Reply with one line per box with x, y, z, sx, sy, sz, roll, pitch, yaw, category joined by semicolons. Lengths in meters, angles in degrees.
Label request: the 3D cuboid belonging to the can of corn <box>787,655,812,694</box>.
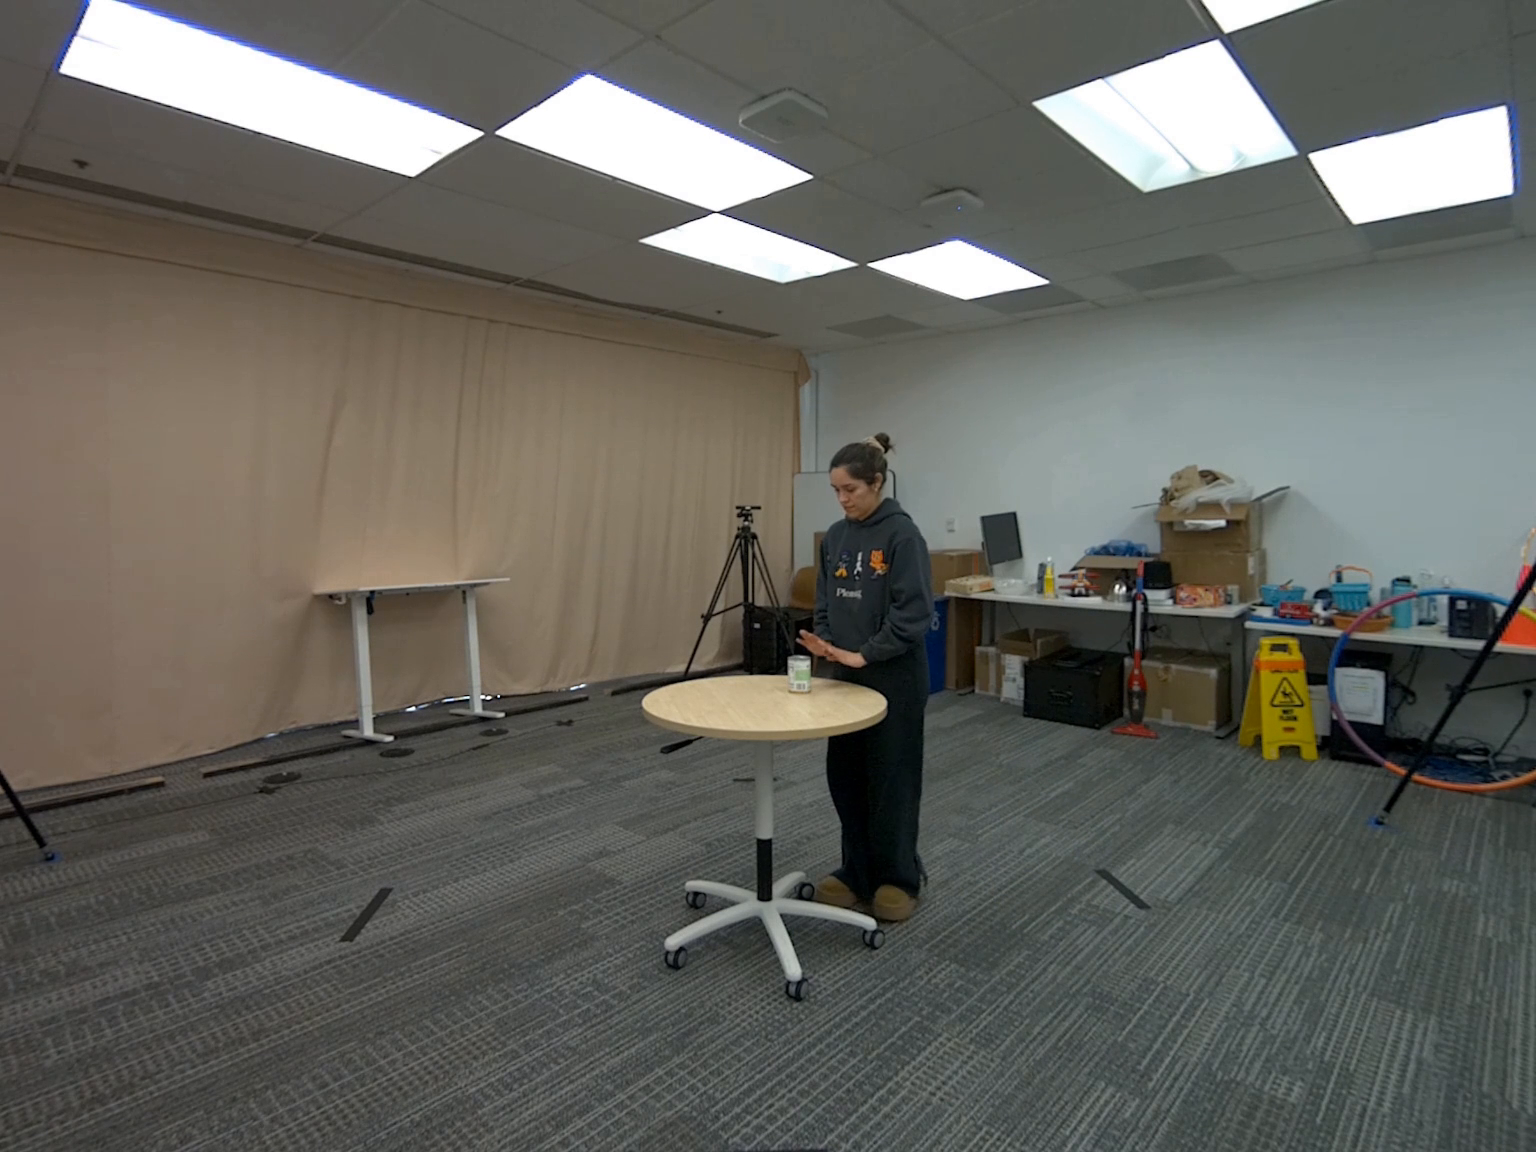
0.115;0.323;2.754;0.074;0.111;0.074;0;3;-2;can of corn
